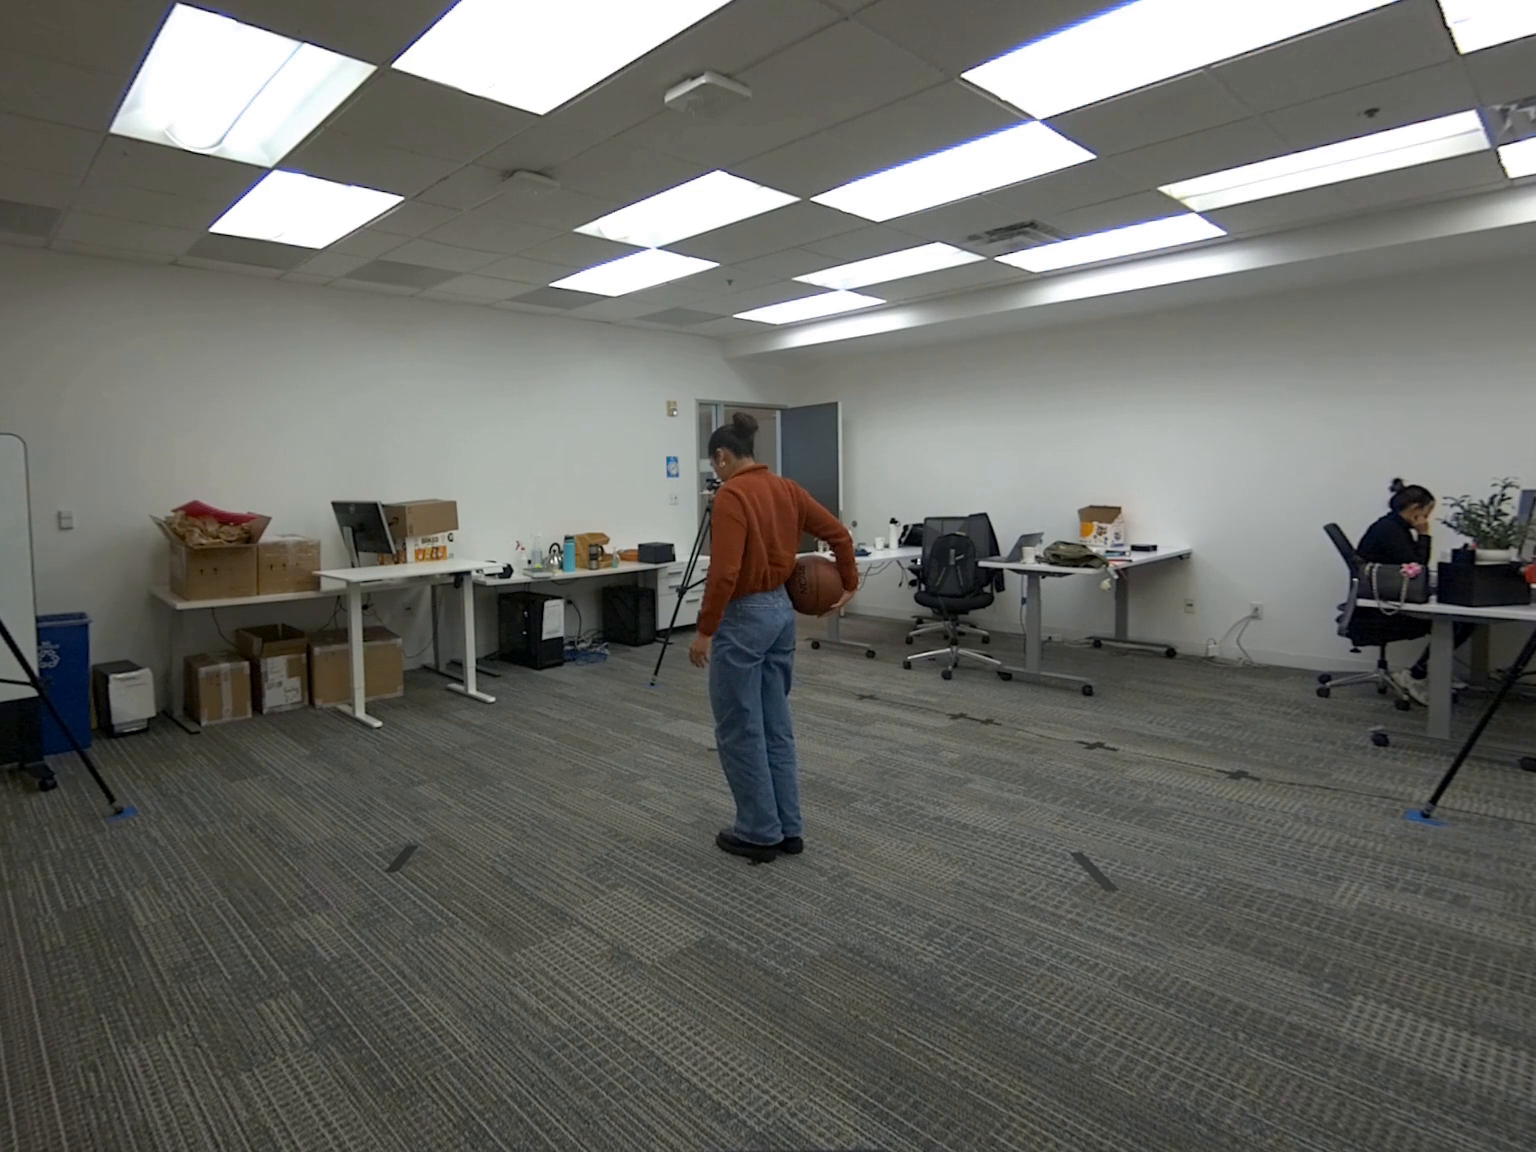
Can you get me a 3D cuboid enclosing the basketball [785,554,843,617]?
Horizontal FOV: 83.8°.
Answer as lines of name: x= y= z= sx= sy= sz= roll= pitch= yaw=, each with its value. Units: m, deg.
basketball: x=0.172 y=0.030 z=3.315 sx=0.236 sy=0.235 sz=0.237 roll=-1 pitch=5 yaw=-2
